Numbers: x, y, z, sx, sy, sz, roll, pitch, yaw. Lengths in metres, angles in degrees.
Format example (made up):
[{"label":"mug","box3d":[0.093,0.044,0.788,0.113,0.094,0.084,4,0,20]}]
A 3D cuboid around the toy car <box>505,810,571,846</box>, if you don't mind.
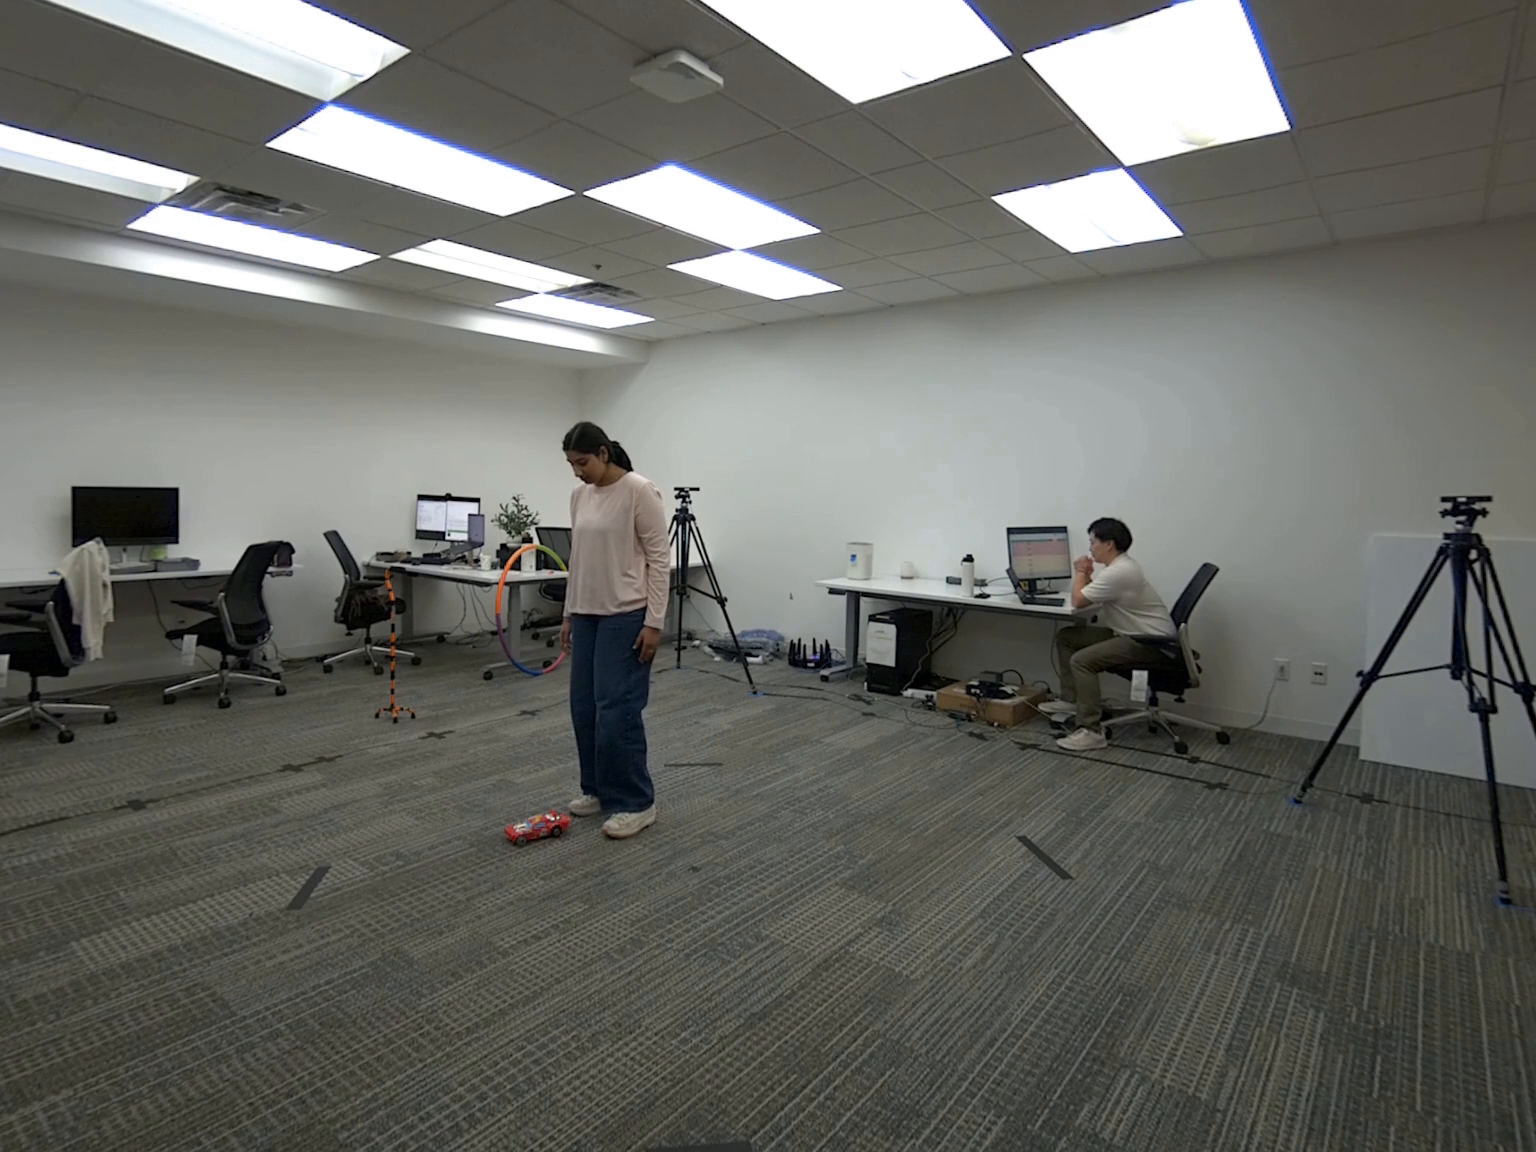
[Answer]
[{"label":"toy car","box3d":[-0.929,1.002,3.373,0.249,0.082,0.134,-15,13,-34]}]
